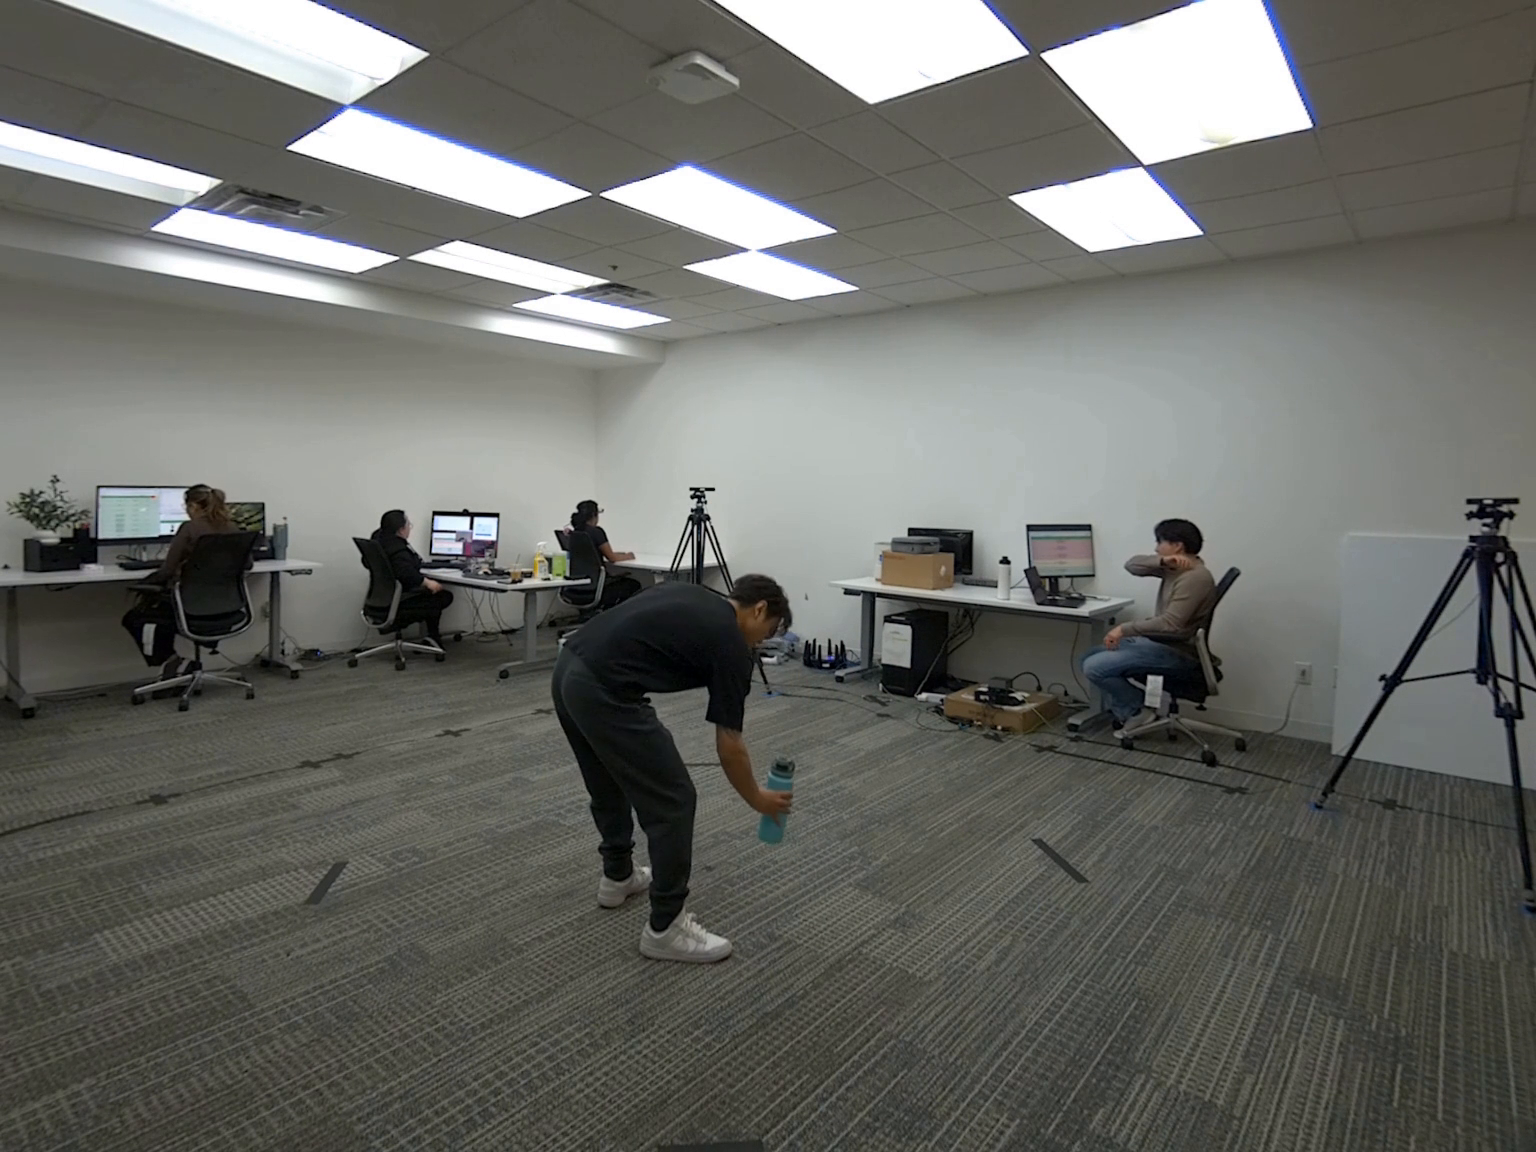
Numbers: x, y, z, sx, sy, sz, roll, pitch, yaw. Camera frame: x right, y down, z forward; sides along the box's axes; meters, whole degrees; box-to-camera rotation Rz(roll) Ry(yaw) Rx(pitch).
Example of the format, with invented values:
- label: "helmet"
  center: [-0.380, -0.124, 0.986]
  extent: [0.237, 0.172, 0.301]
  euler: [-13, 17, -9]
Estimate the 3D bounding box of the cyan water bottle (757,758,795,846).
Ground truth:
- label: "cyan water bottle"
  center: [0.018, 0.739, 2.825]
  extent: [0.092, 0.282, 0.093]
  euler: [11, 4, -3]
